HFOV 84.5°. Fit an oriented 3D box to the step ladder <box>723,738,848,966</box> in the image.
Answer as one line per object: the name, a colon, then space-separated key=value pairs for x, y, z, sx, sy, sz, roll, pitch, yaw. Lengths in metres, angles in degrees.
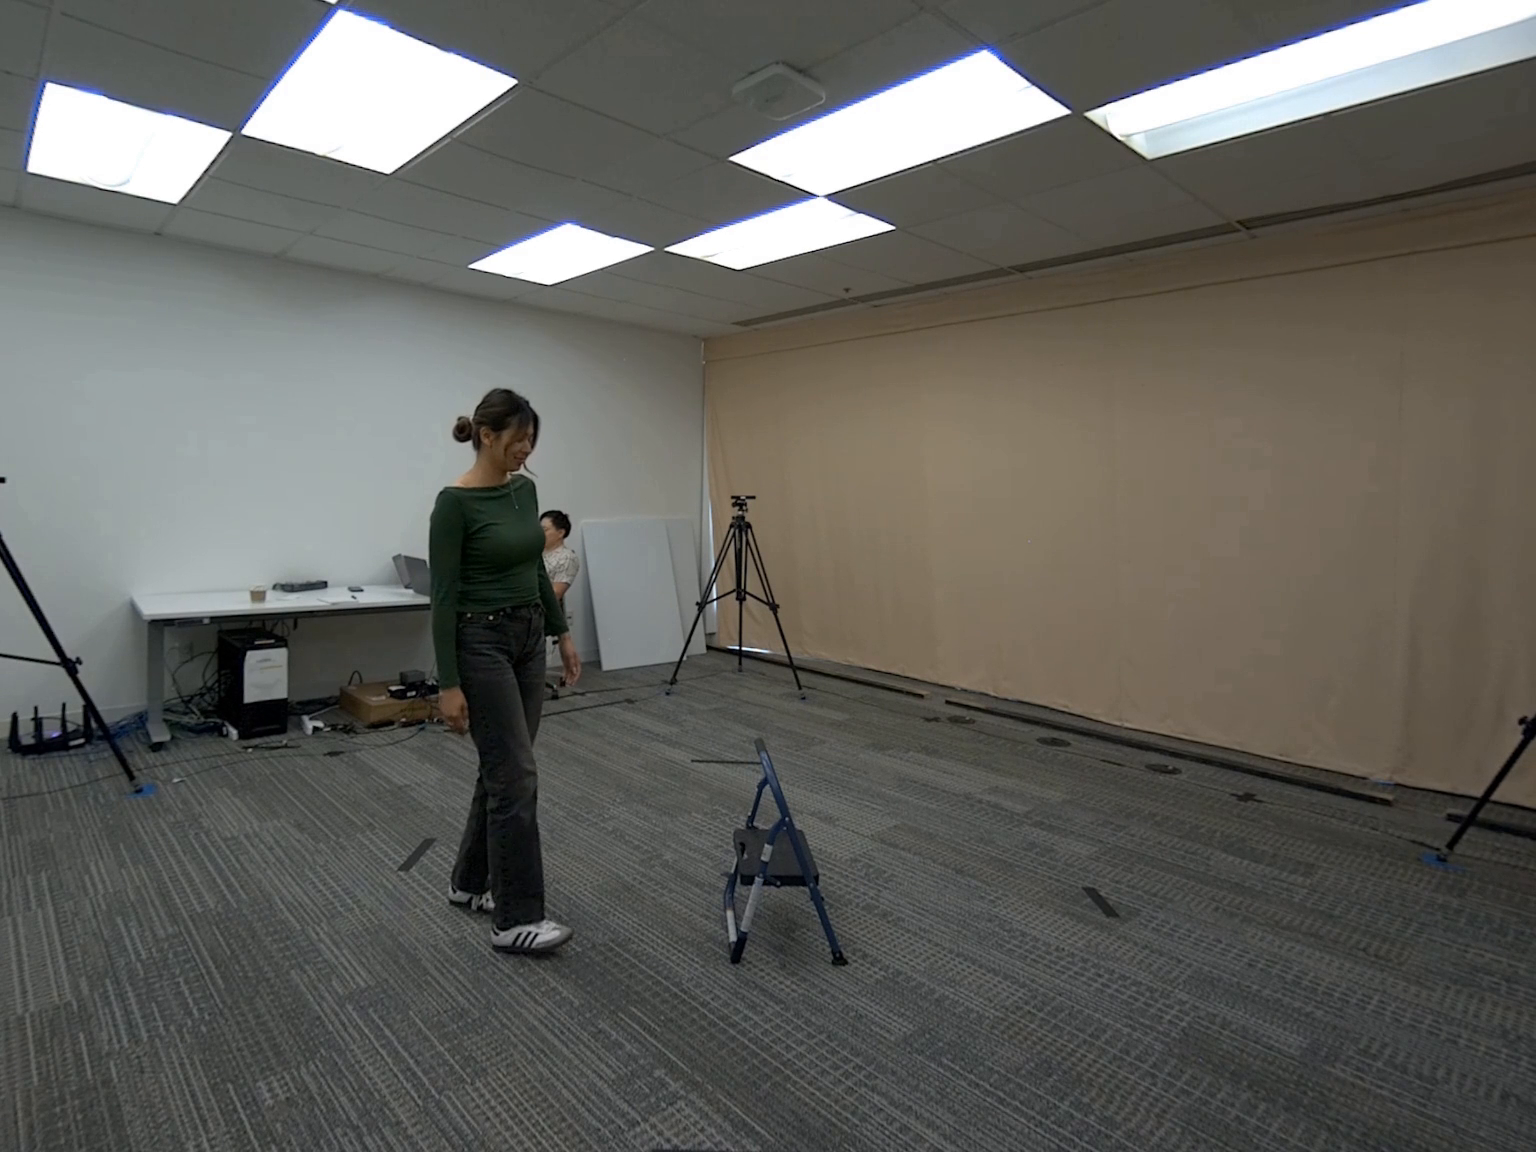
step ladder: x=0.036 y=0.845 z=2.700 sx=0.348 sy=0.604 sz=0.434 roll=1 pitch=4 yaw=-6
